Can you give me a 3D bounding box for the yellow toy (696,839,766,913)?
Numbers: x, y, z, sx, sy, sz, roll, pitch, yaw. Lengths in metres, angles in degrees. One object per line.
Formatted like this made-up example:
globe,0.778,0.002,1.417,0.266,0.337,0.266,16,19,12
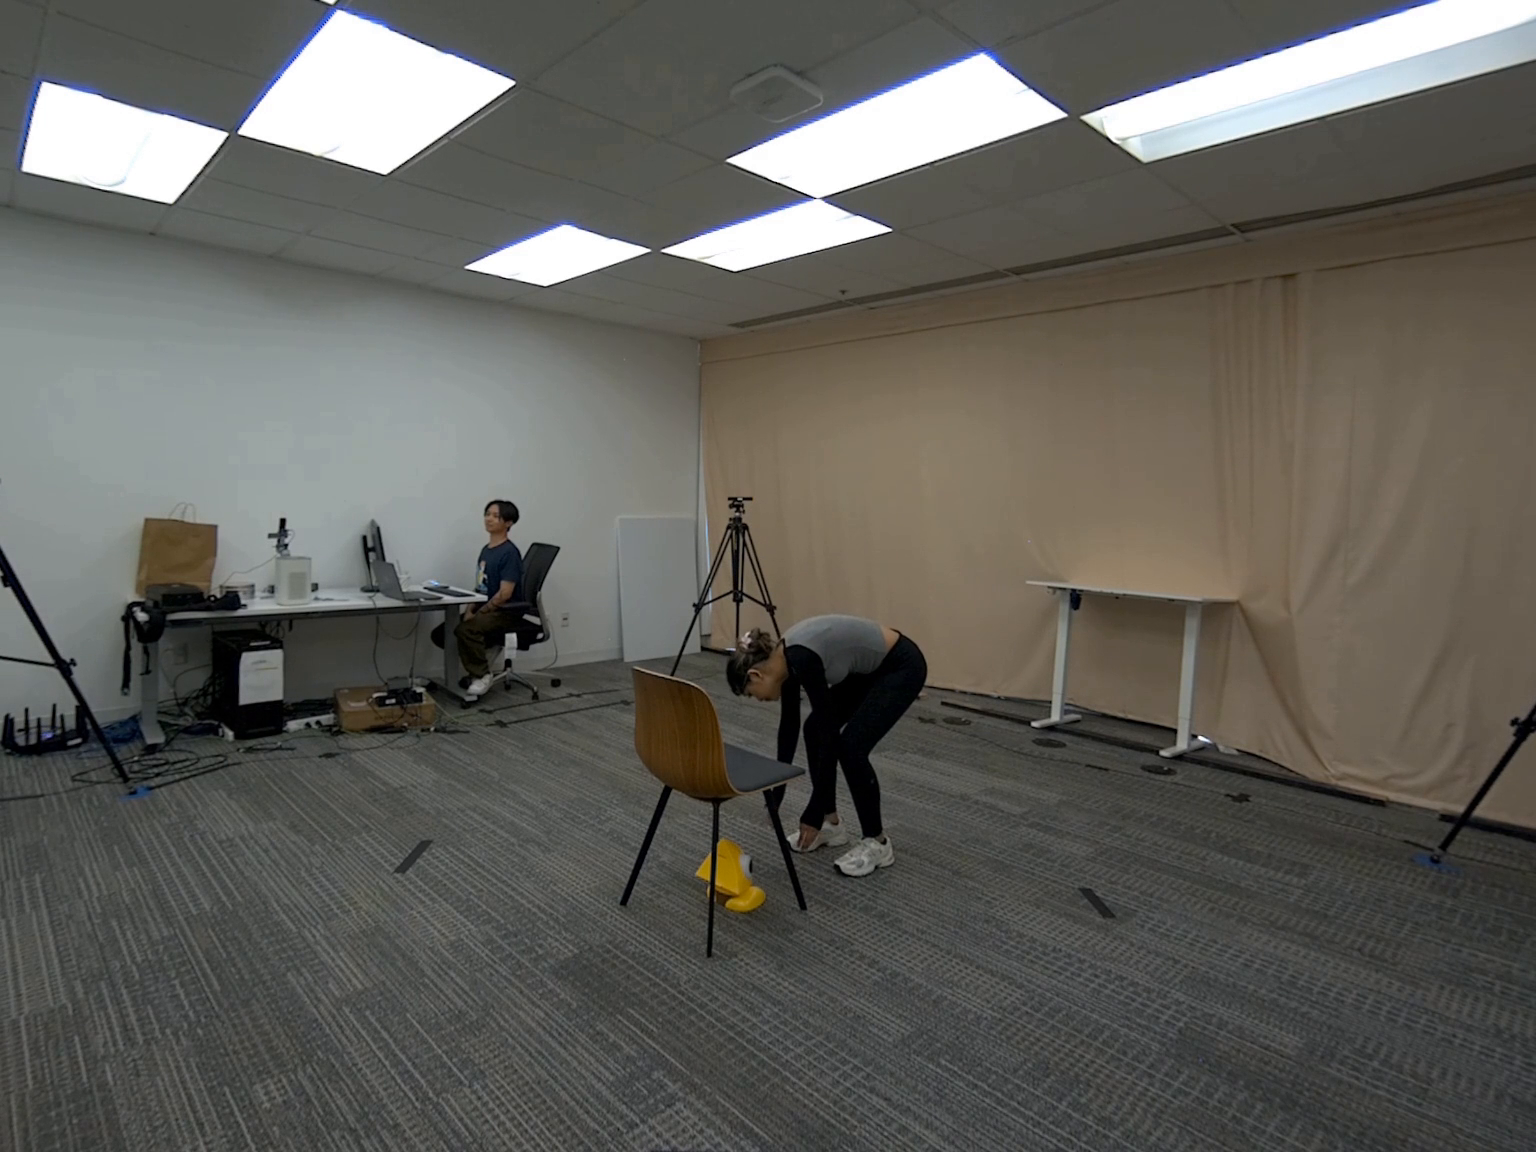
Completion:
yellow toy,-0.123,1.014,2.931,0.210,0.230,0.189,3,5,43
